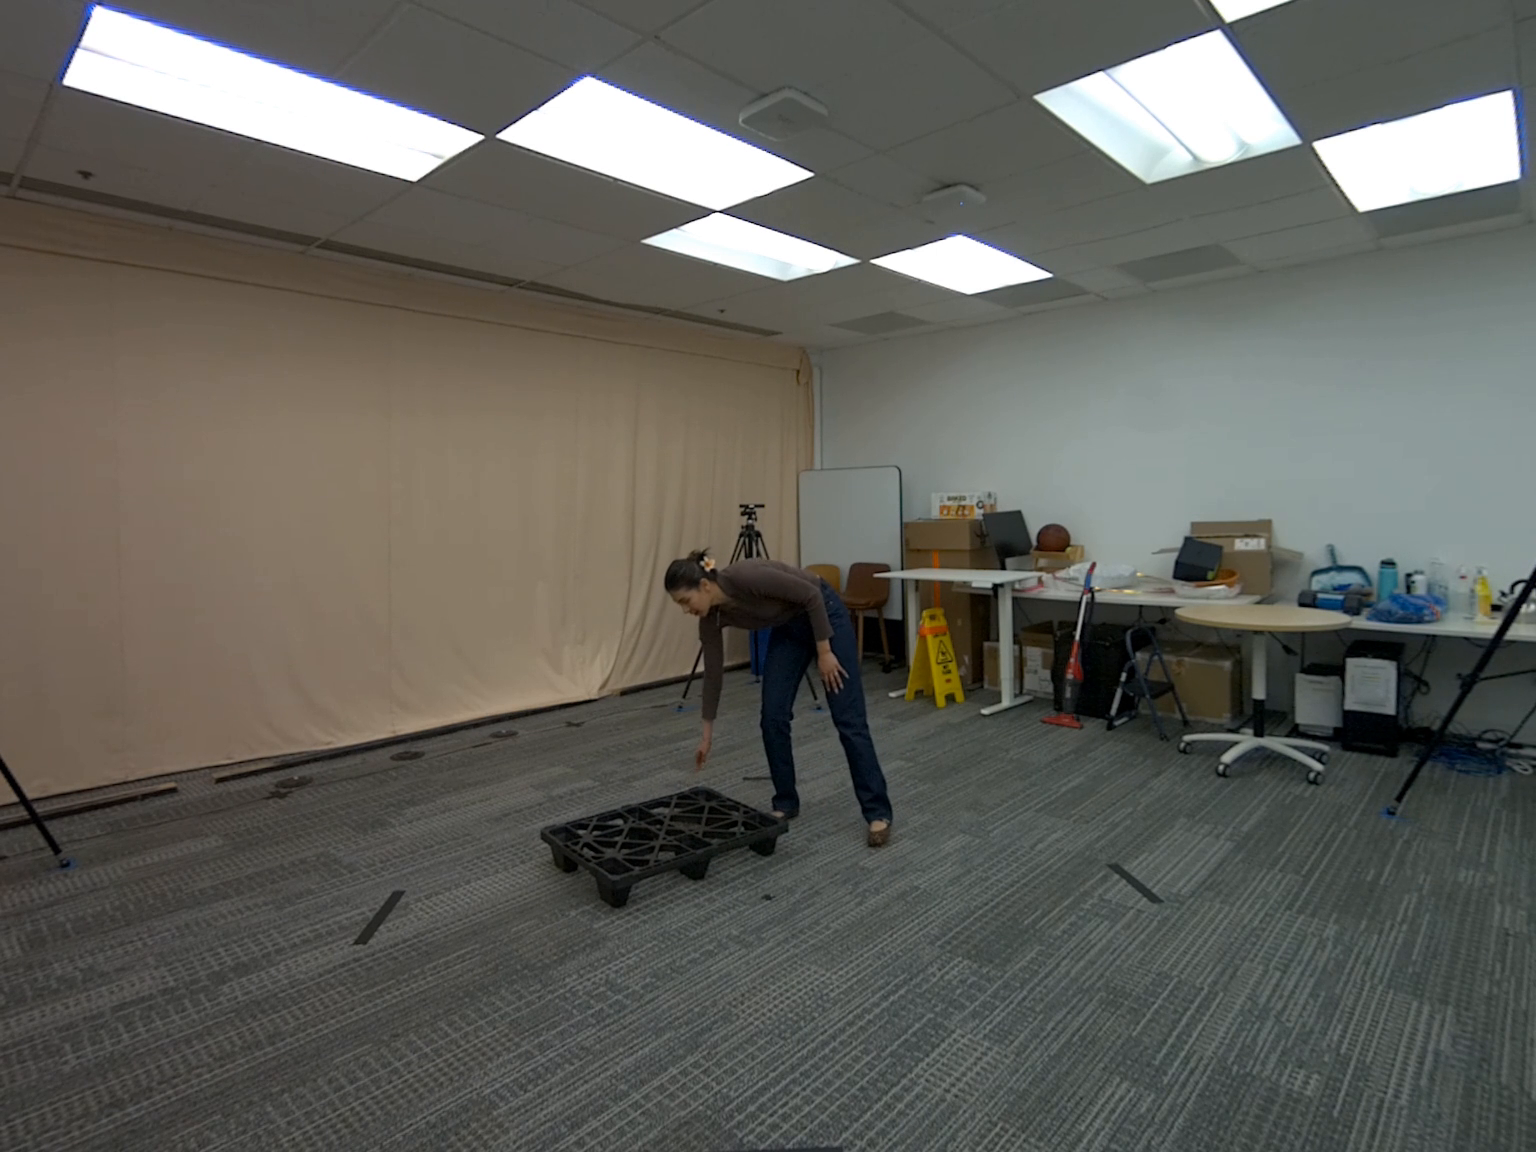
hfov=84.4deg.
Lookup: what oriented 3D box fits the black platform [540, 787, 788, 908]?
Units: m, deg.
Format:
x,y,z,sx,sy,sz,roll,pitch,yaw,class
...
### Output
x,y,z,sx,sy,sz,roll,pitch,yaw,class
-0.398,1.051,3.322,0.782,0.143,0.625,-6,7,-38,black platform
